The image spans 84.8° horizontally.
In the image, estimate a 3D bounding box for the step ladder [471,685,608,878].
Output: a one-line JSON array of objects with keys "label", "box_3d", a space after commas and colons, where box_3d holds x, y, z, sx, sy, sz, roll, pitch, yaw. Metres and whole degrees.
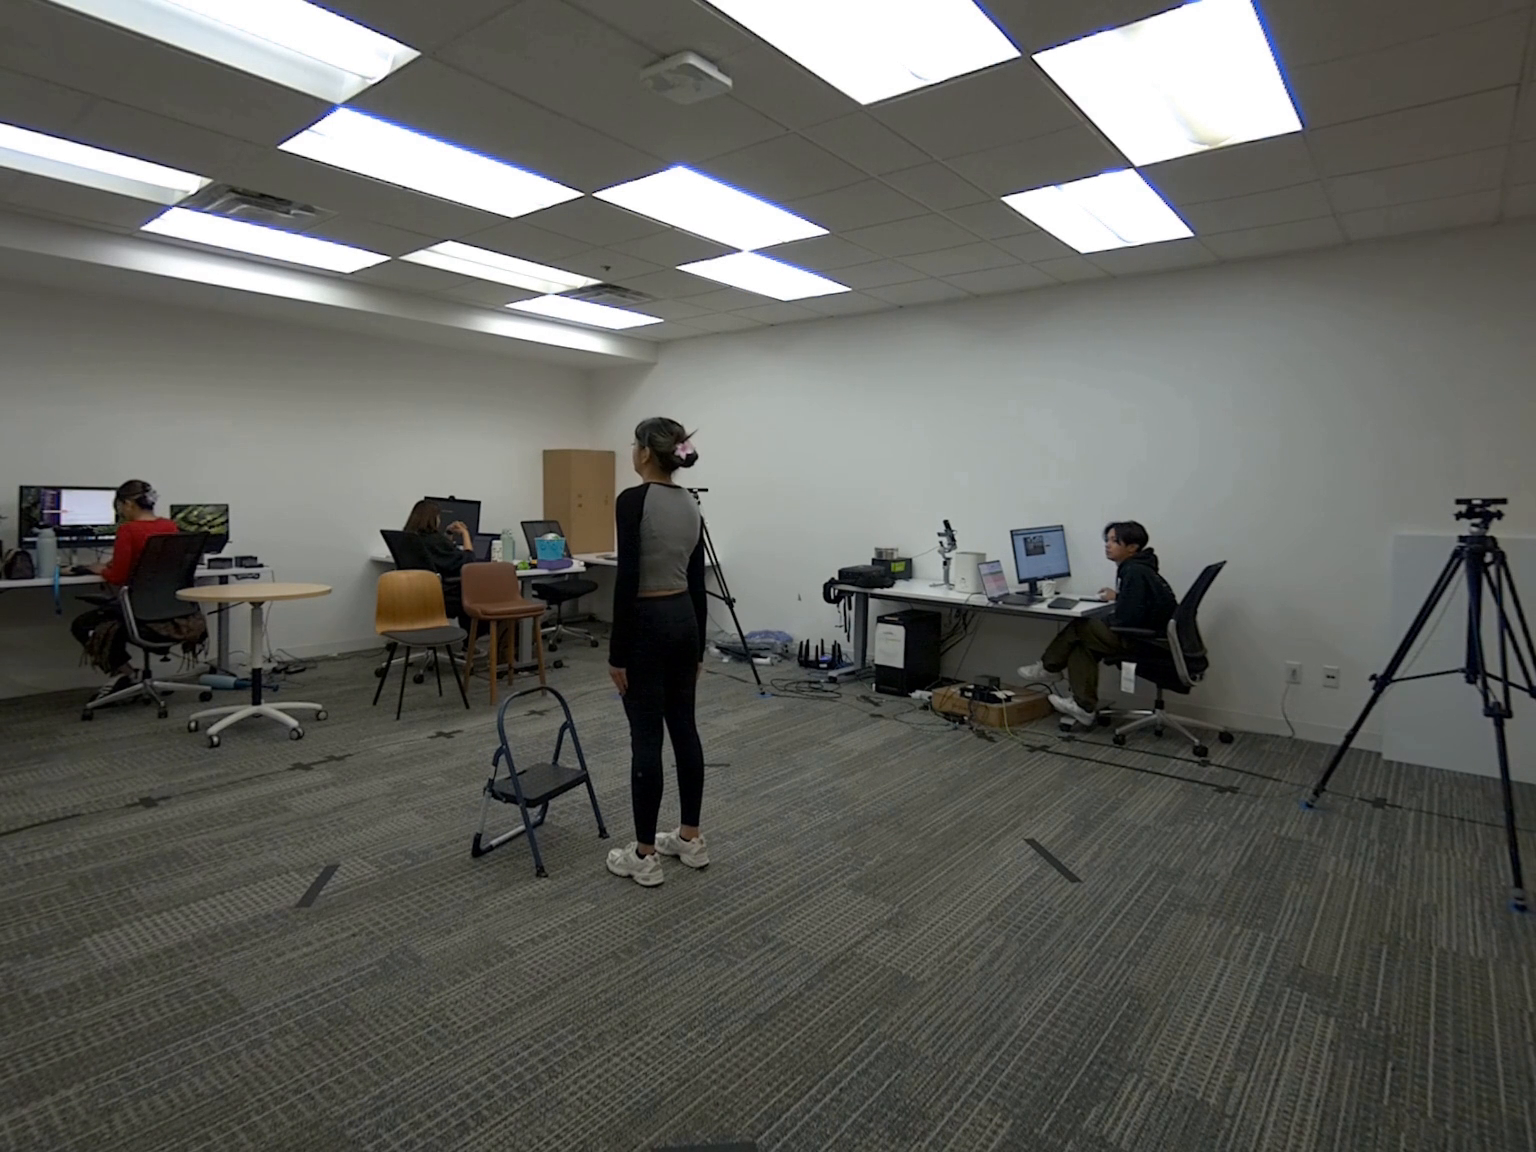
[{"label": "step ladder", "box_3d": [-0.878, 0.741, 3.269, 0.358, 0.605, 0.421, 3, 3, 24]}]
